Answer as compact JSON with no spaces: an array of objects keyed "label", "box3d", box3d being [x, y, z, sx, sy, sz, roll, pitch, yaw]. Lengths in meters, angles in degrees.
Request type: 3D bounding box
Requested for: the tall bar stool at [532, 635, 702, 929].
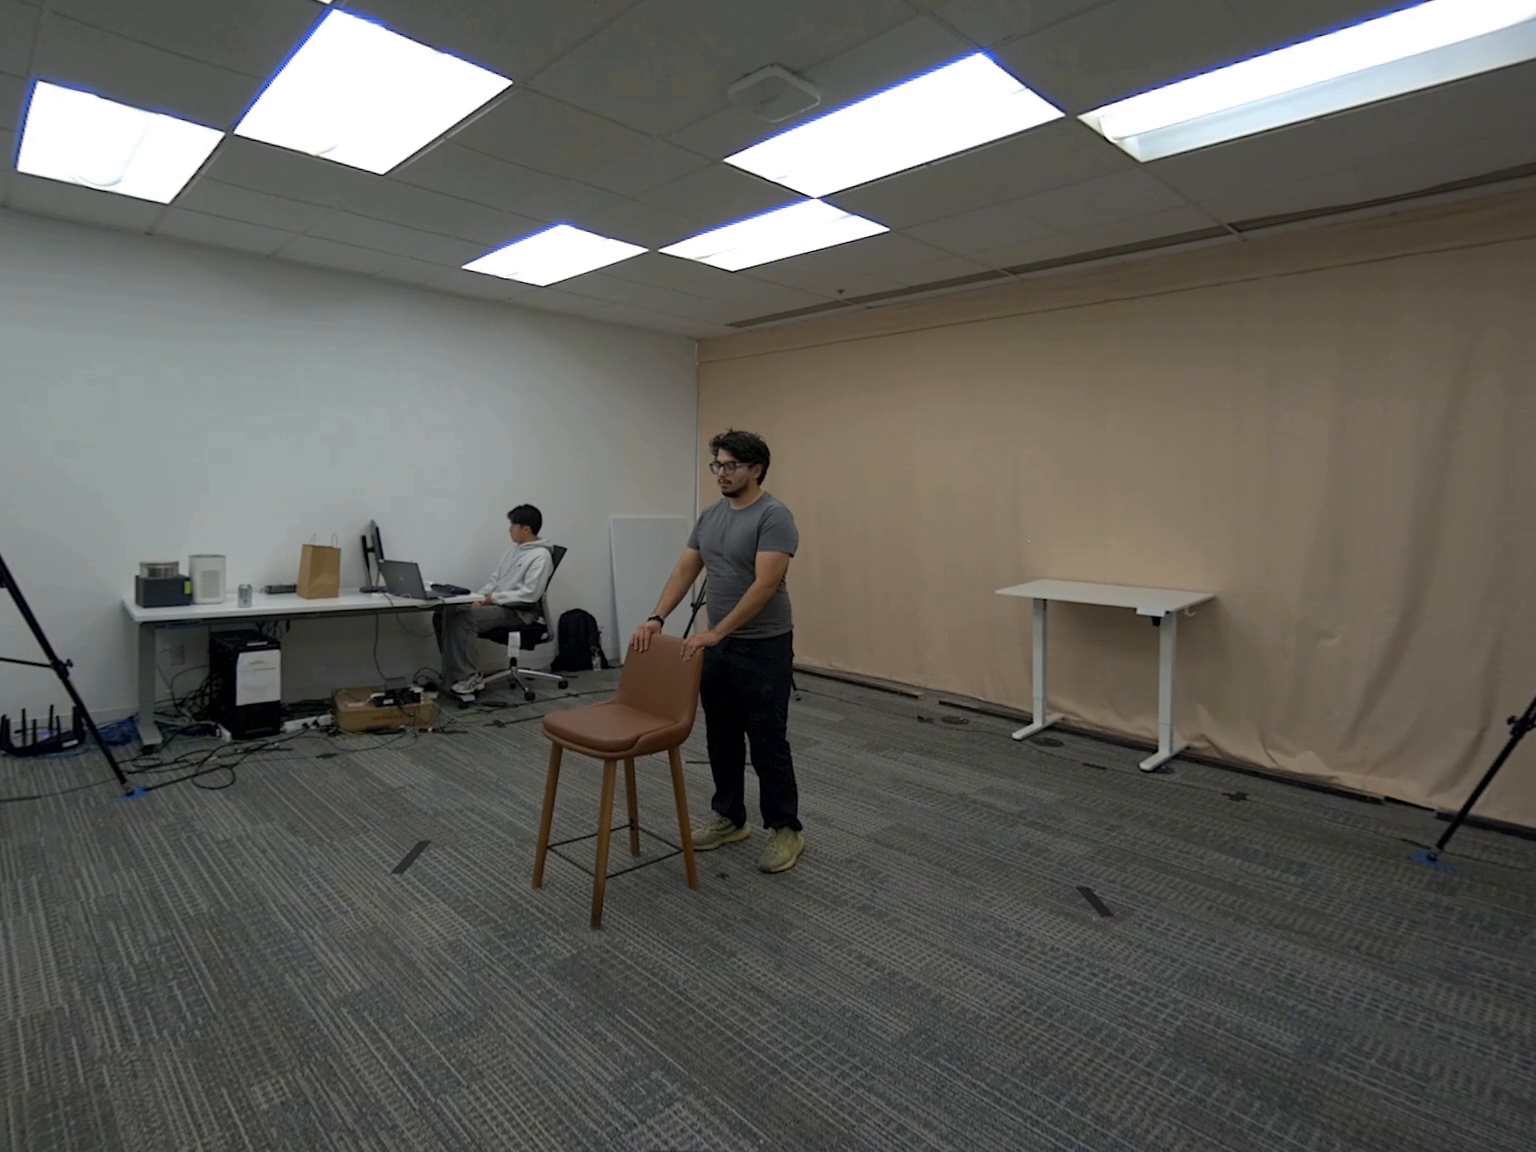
[{"label":"tall bar stool","box3d":[-0.526,0.674,2.972,0.456,0.888,0.468,0,3,-43]}]
